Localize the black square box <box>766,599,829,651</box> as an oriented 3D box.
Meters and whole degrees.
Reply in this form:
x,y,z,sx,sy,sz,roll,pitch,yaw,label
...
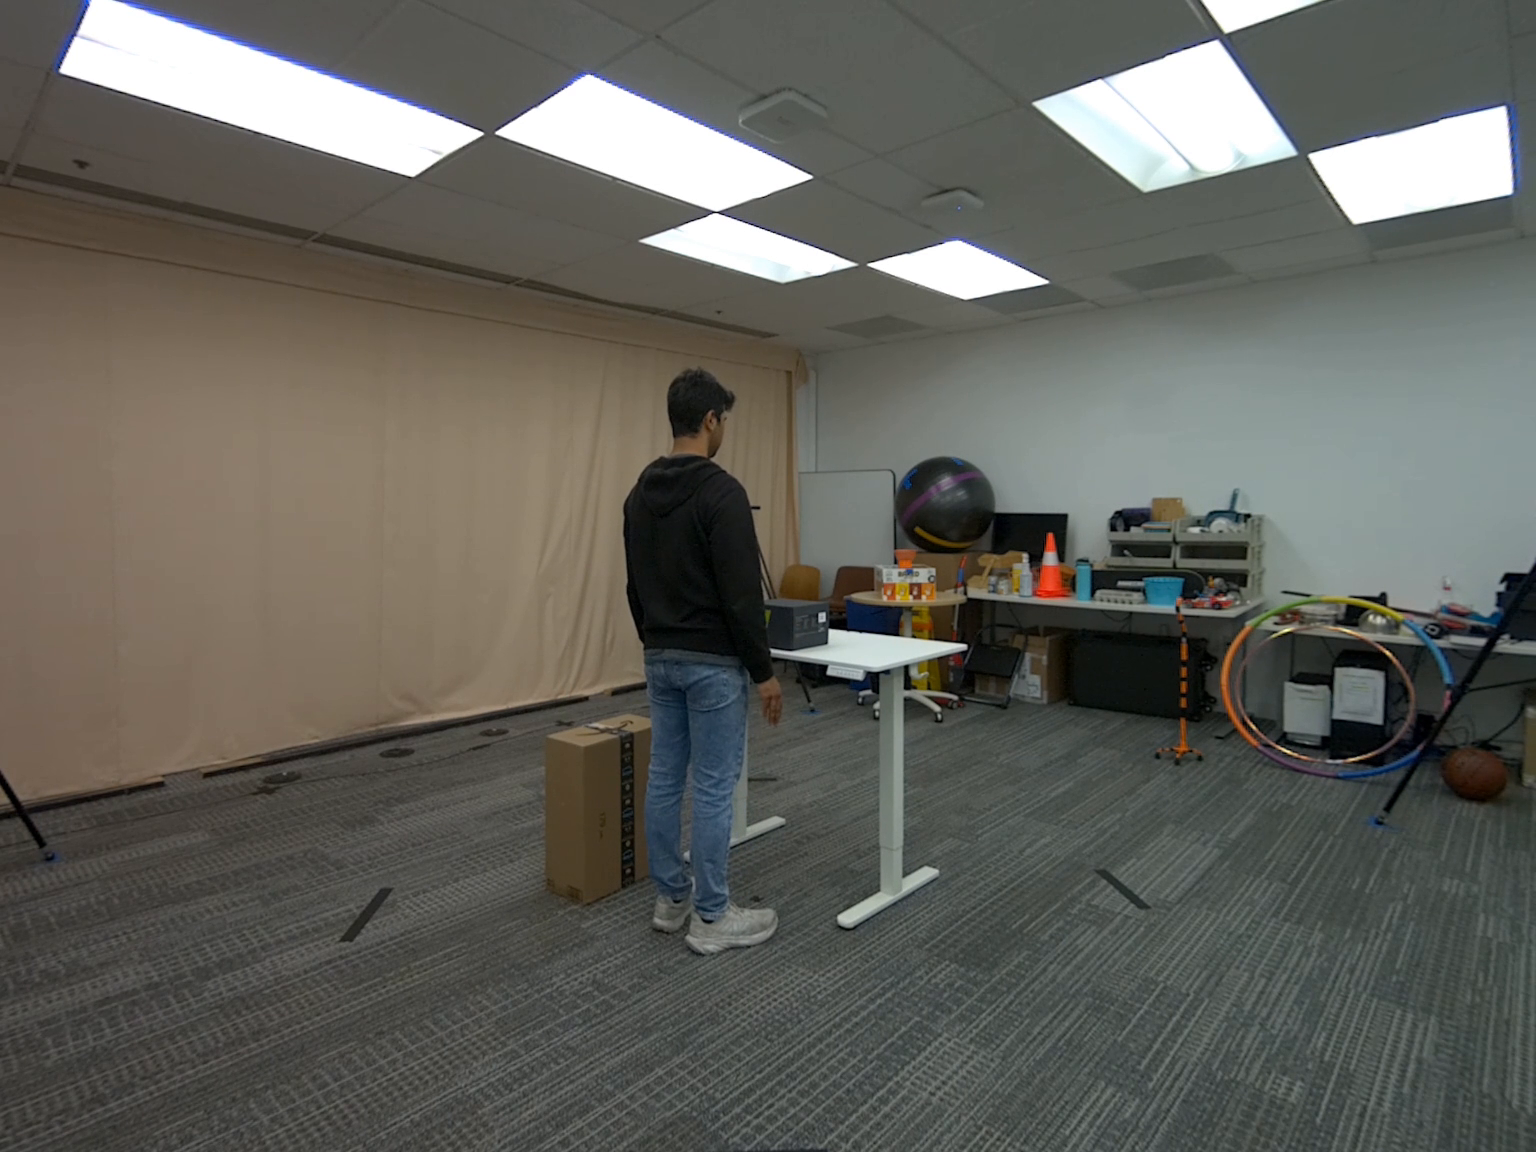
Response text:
x,y,z,sx,sy,sz,roll,pitch,yaw,label
0.067,0.173,3.085,0.235,0.155,0.210,3,5,41,black square box
